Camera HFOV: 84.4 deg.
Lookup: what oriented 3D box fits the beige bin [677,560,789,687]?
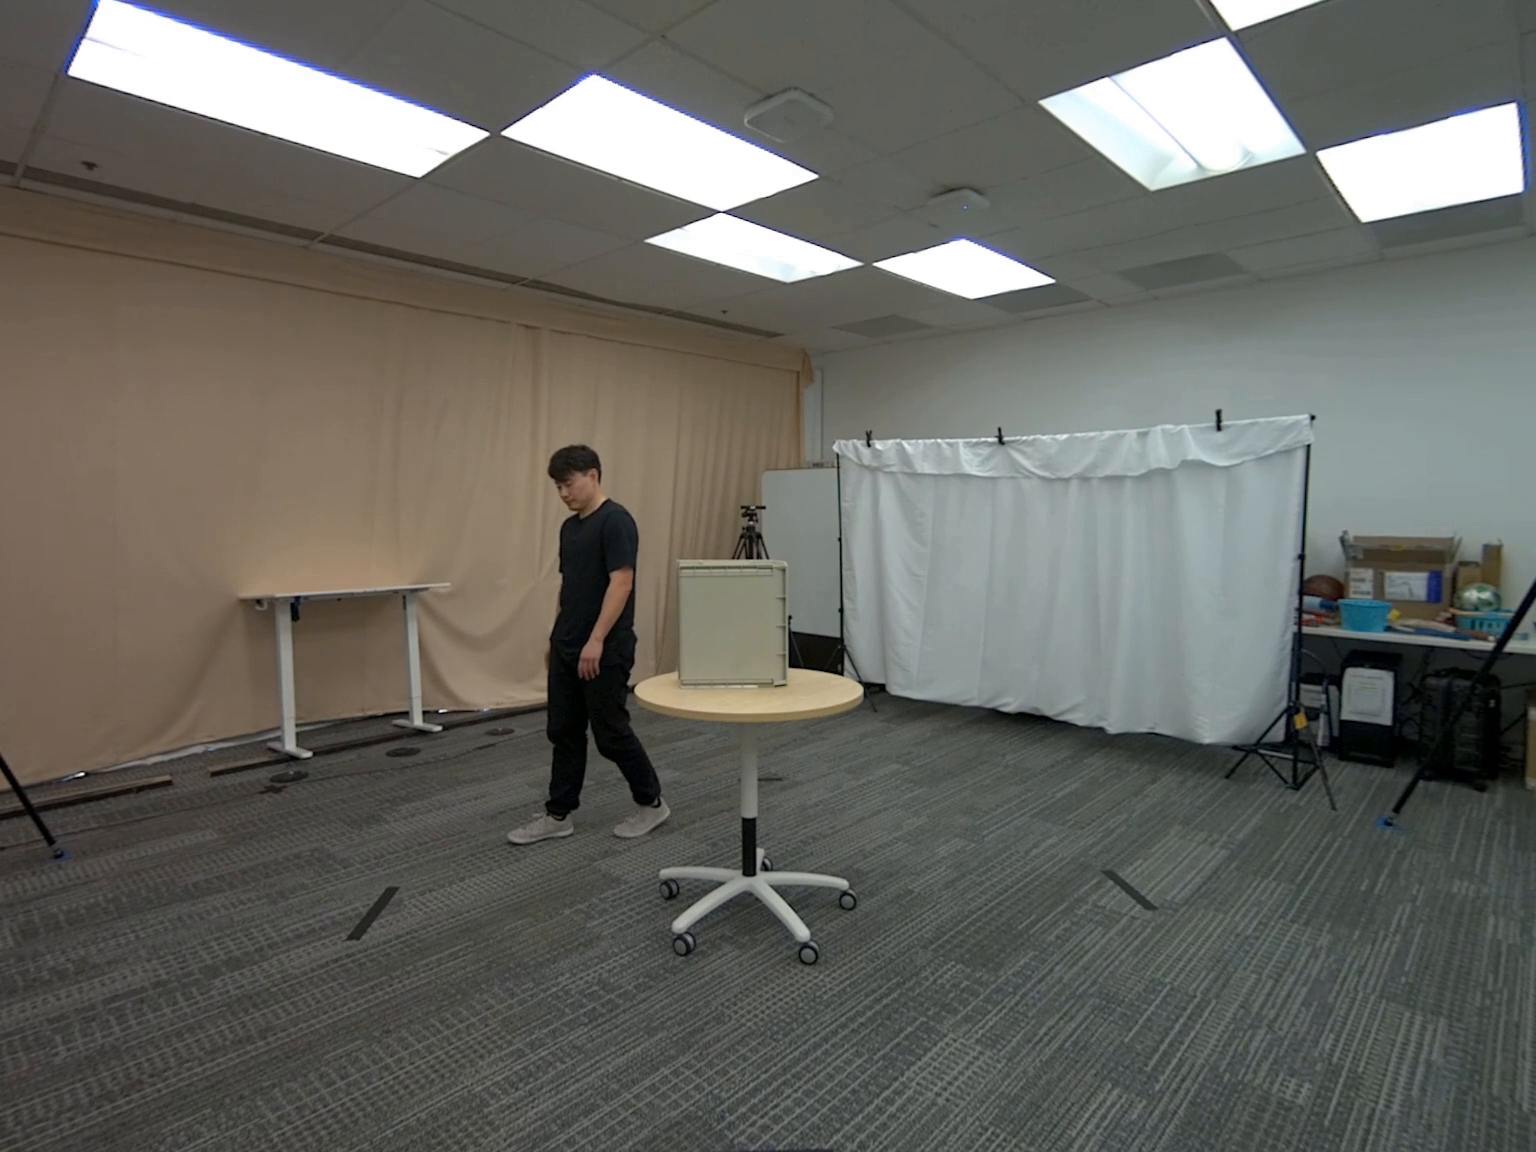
[{"bbox_3d":[-0.119,0.160,2.894,0.378,0.421,0.189,0,4,1],"label":"beige bin"}]
